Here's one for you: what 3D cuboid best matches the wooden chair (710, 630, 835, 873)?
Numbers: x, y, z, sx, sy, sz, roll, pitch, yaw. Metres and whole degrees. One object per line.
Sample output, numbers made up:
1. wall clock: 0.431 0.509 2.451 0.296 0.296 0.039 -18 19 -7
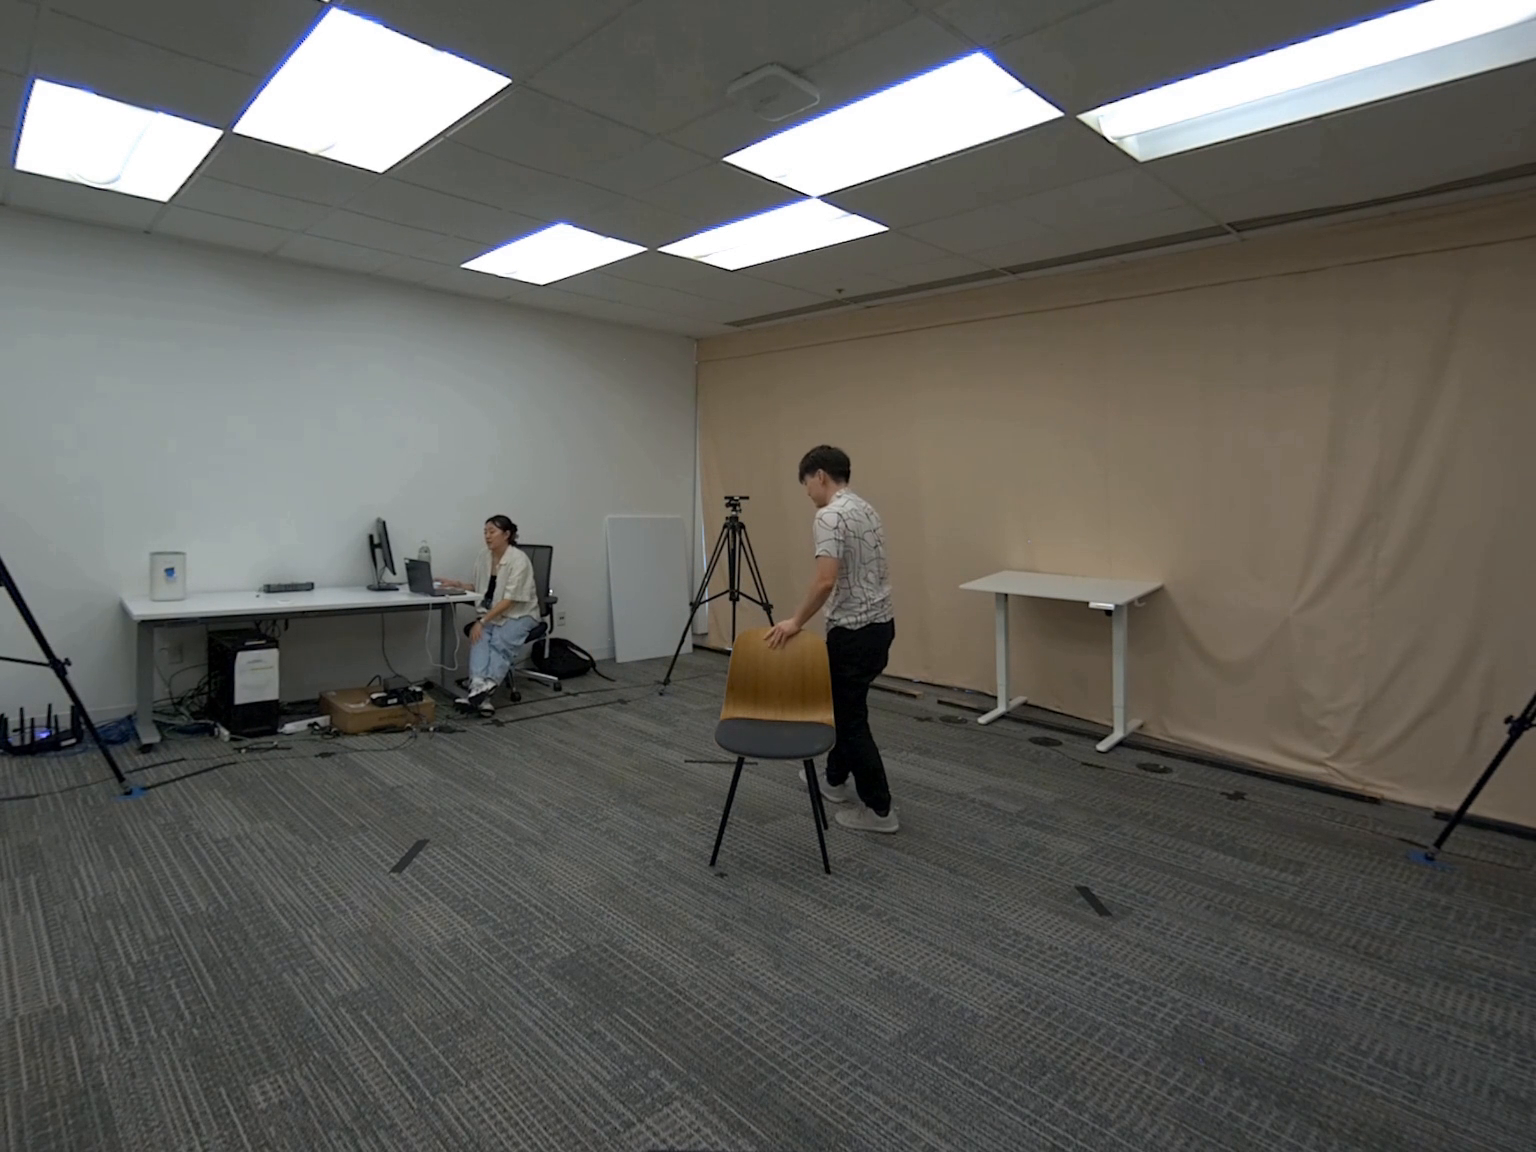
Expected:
1. wooden chair: 0.026 0.658 3.335 0.480 0.878 0.521 2 -1 4
